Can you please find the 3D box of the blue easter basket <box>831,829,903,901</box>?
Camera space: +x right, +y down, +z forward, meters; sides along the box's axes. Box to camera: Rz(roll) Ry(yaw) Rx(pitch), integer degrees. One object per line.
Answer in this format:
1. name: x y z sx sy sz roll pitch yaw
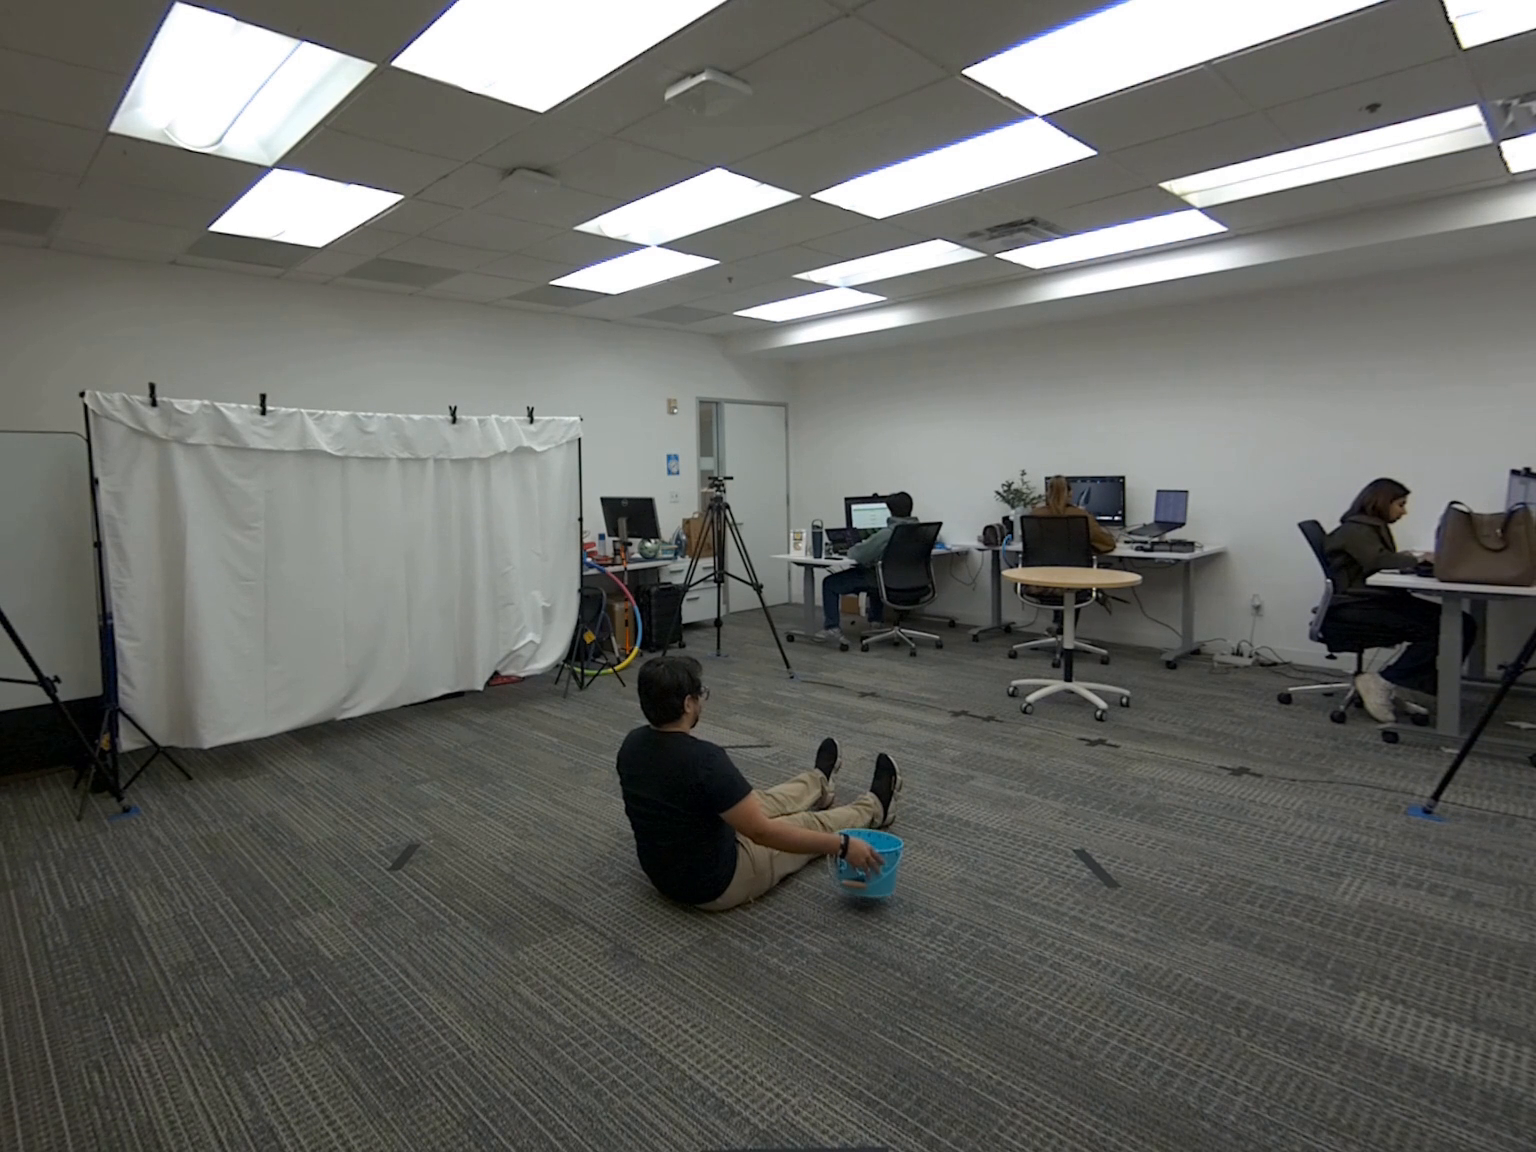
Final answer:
1. blue easter basket: 0.313 0.928 2.785 0.243 0.156 0.243 2 -1 -2
